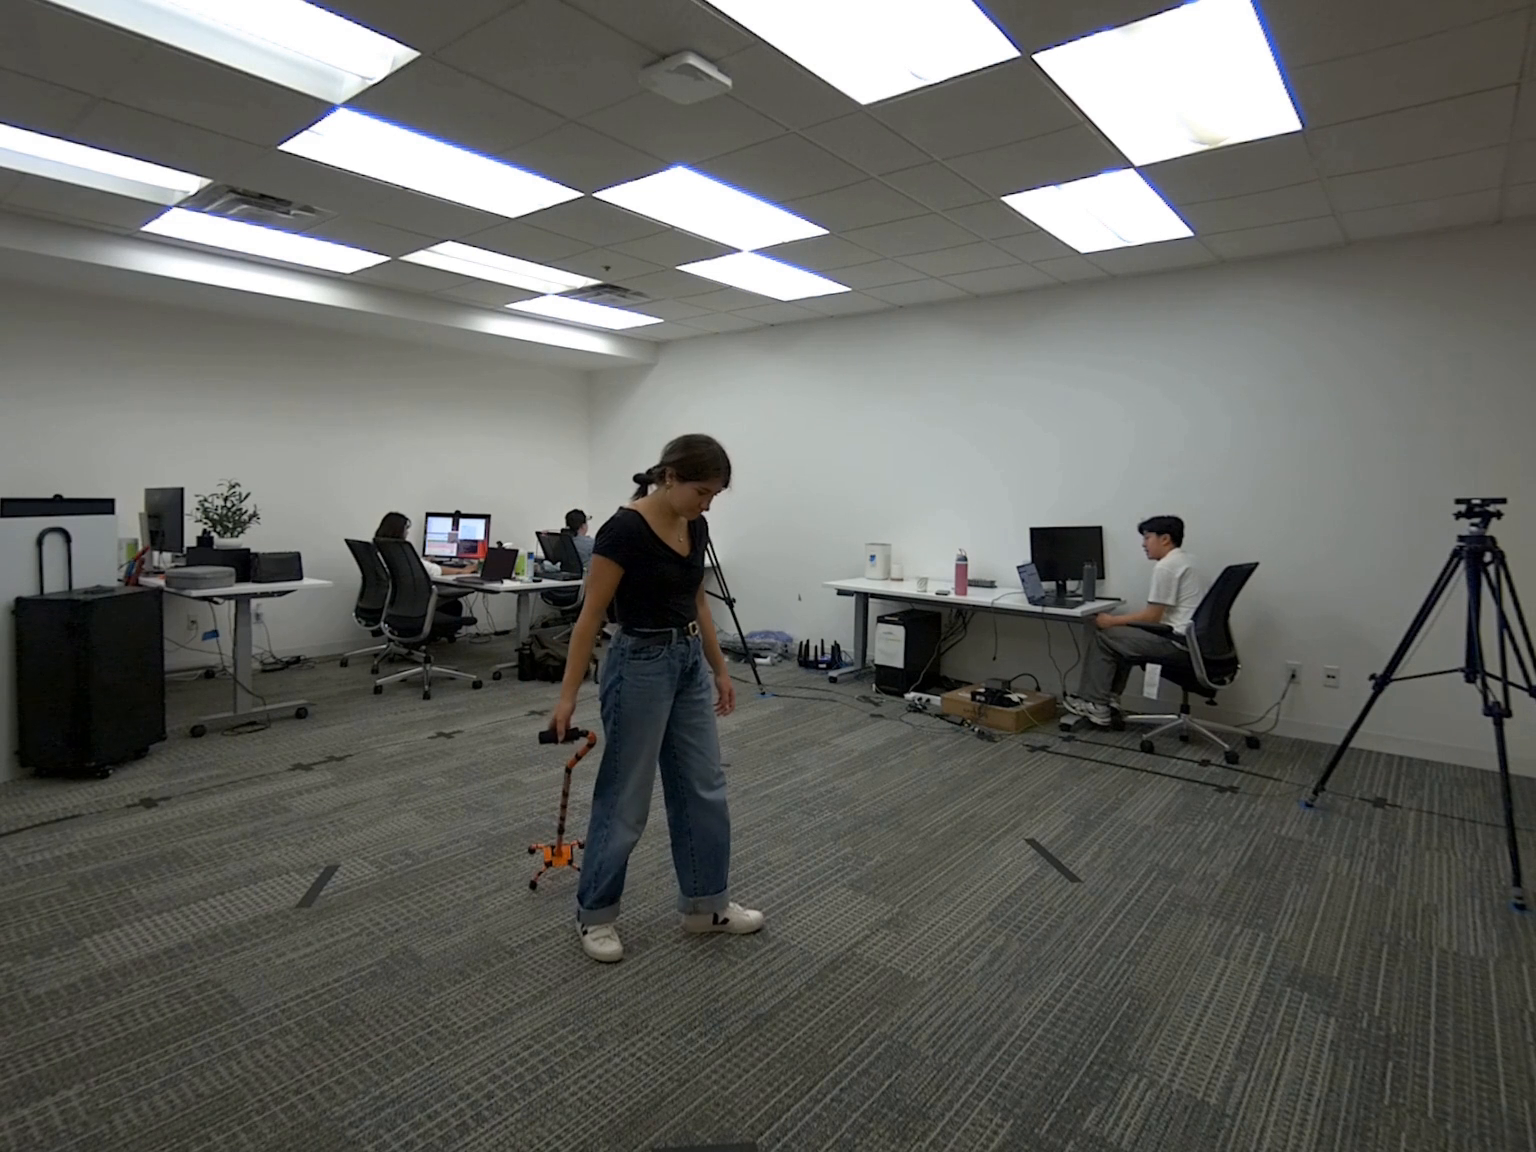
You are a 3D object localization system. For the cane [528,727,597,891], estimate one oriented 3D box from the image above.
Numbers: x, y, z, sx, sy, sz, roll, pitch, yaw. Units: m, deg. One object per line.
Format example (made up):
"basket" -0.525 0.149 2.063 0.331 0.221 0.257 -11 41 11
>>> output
"cane" -0.651 0.726 2.687 0.203 0.157 0.891 0 -40 -16
